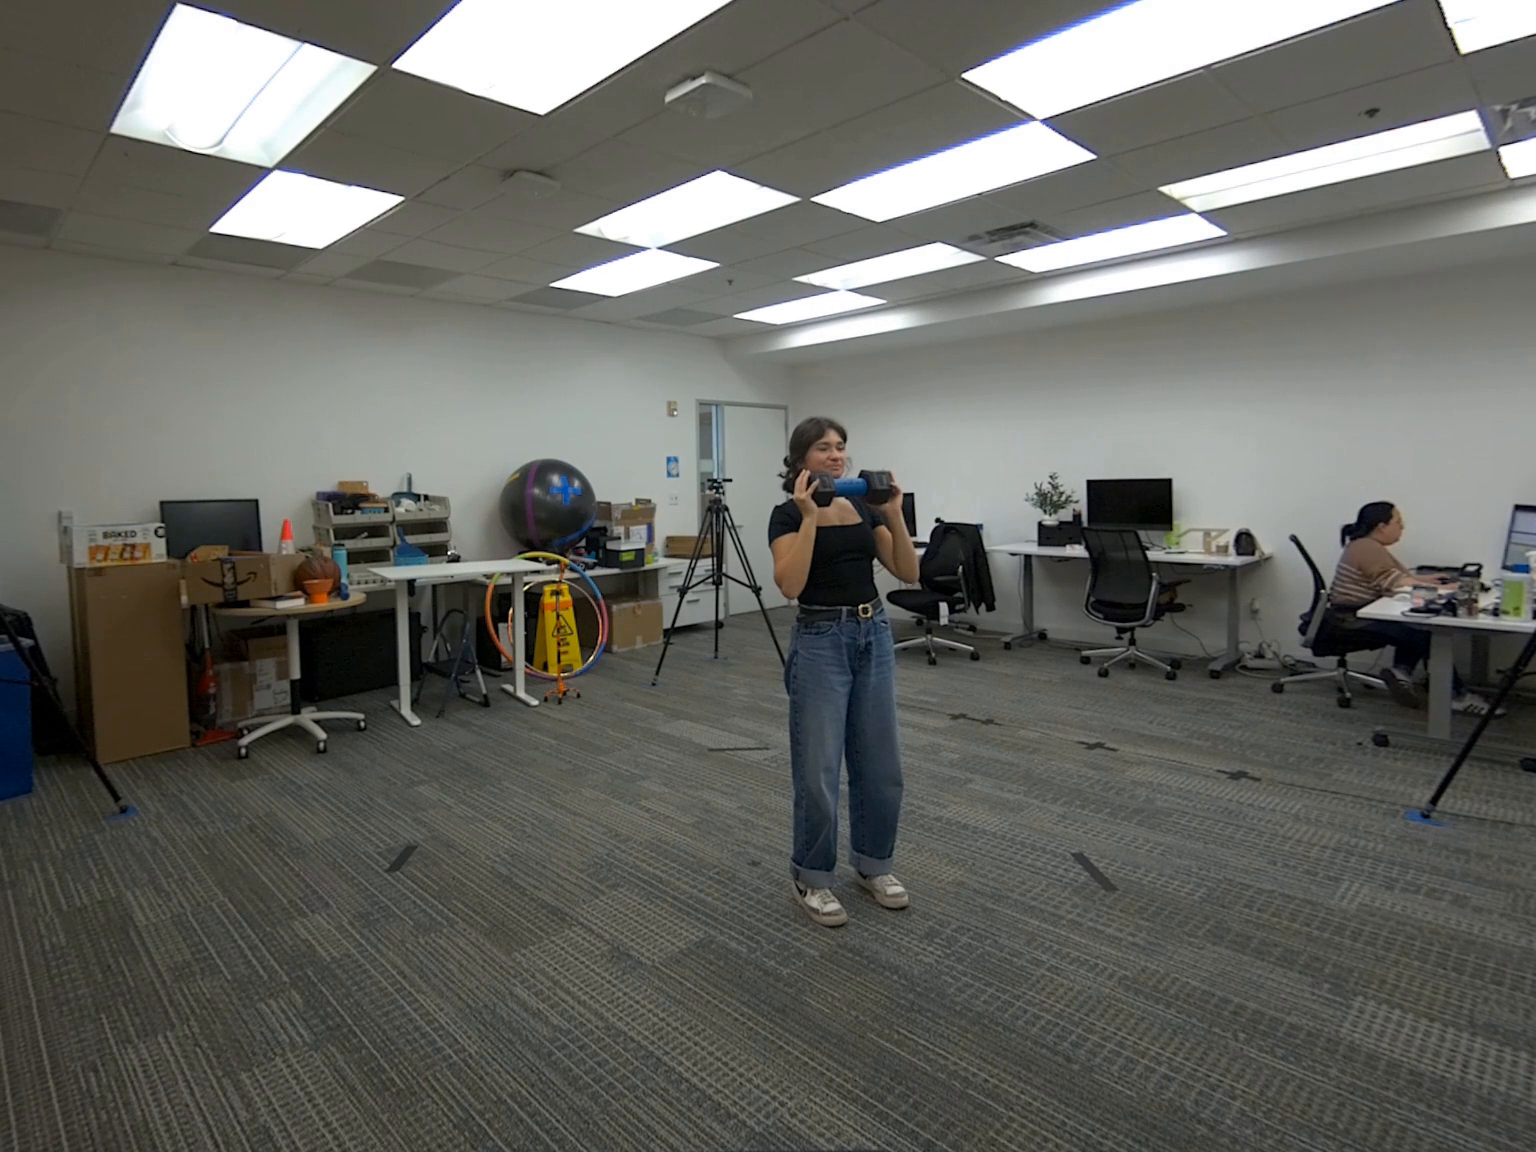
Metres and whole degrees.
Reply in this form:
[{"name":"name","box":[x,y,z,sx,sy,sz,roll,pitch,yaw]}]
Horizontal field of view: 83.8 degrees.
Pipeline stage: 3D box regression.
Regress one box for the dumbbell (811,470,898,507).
[{"name":"dumbbell","box":[0.246,-0.280,2.694,0.288,0.121,0.113,-3,42,-24]}]
